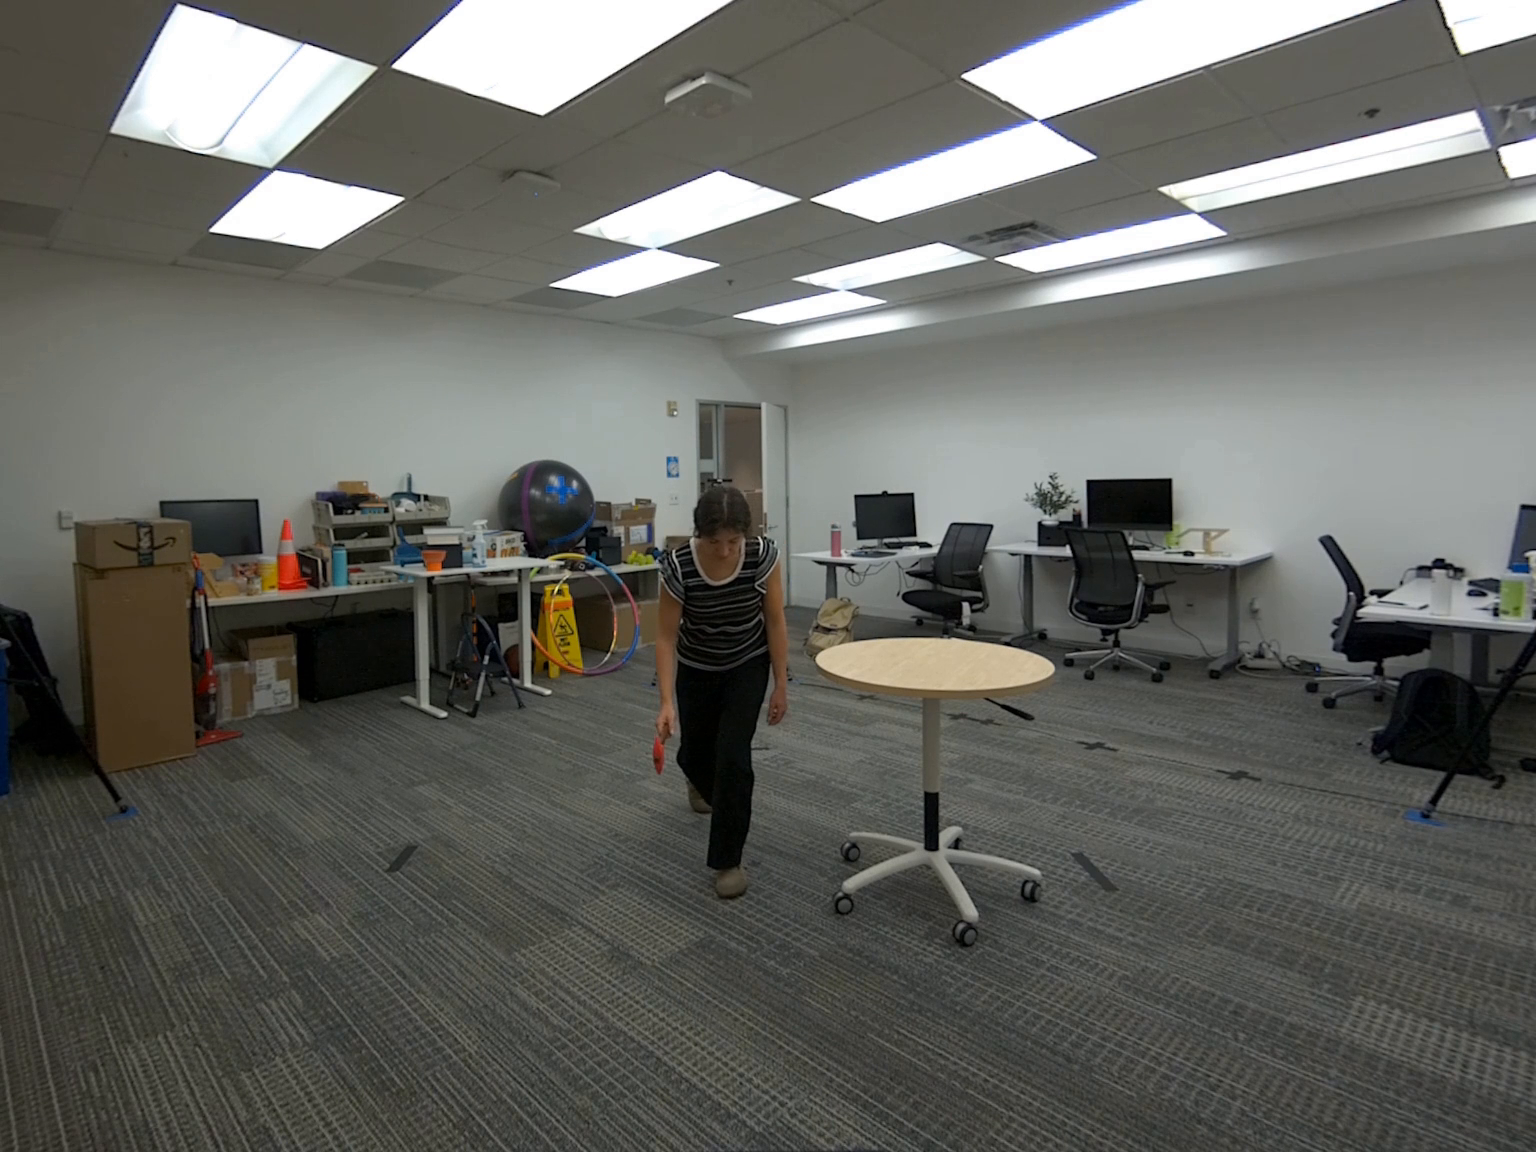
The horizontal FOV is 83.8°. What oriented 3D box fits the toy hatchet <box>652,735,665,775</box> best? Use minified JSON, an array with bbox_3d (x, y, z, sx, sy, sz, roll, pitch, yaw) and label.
[{"bbox_3d":[-0.335,0.544,2.736,0.030,0.131,0.269,1,4,5],"label":"toy hatchet"}]
